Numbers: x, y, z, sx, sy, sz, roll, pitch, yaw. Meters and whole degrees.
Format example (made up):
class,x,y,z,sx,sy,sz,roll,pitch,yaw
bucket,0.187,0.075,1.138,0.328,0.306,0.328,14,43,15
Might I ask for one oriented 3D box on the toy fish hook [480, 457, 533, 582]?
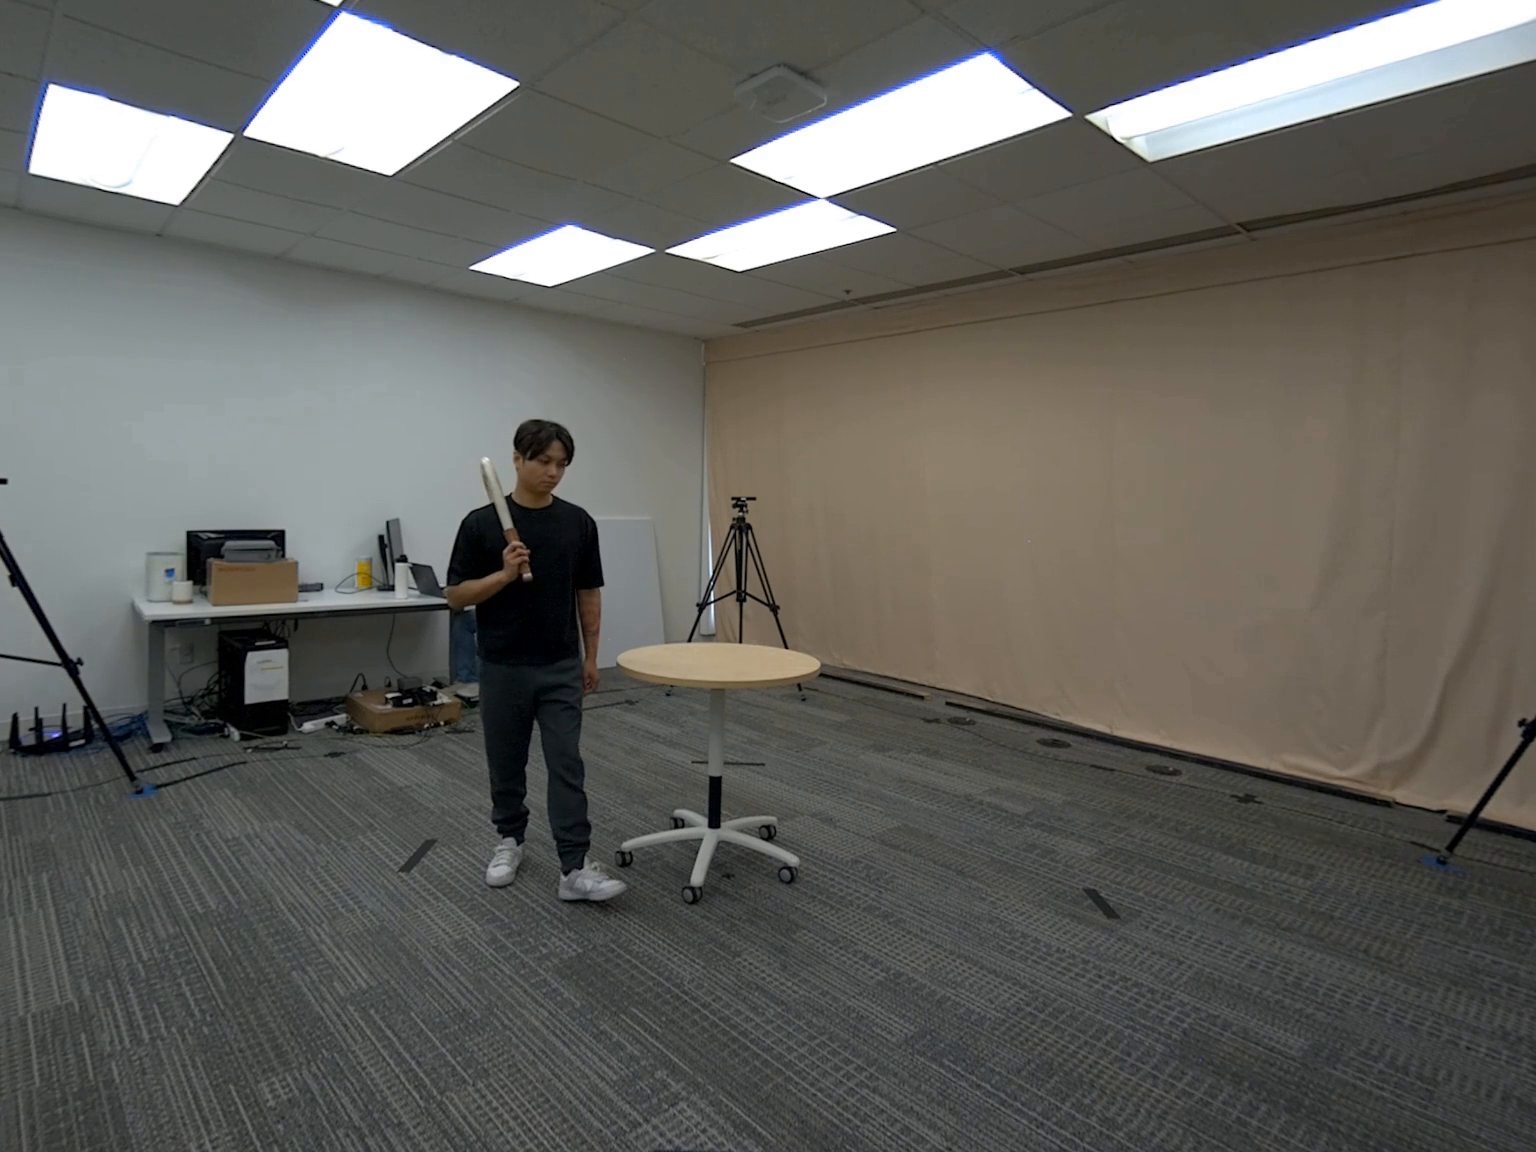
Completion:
class,x,y,z,sx,sy,sz,roll,pitch,yaw
toy fish hook,-0.913,-0.180,2.924,0.048,0.517,0.222,-17,-22,-18
